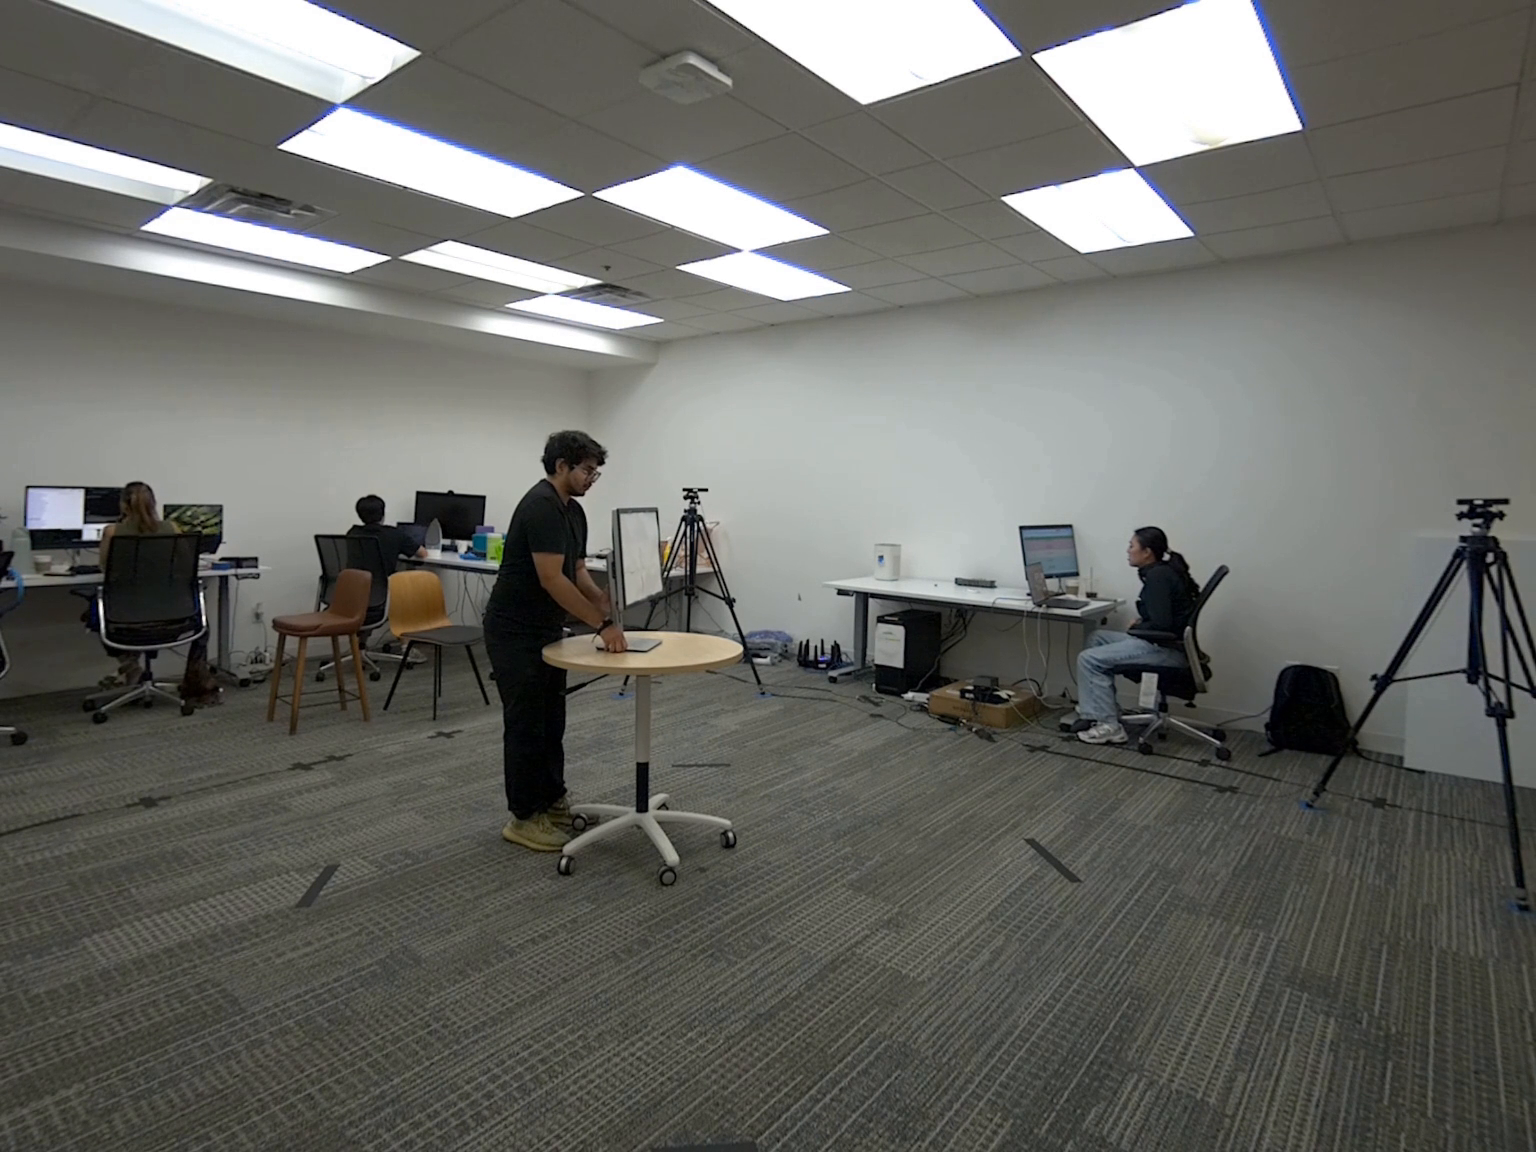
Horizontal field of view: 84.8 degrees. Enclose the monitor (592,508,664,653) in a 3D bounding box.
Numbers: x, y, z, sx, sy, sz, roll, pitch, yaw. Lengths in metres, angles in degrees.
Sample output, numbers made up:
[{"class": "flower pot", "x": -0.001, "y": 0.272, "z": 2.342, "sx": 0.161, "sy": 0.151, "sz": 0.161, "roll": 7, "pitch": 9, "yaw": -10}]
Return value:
[{"class": "monitor", "x": -0.567, "y": 0.007, "z": 3.285, "sx": 0.212, "sy": 0.552, "sz": 0.561, "roll": -1, "pitch": 3, "yaw": 9}]
